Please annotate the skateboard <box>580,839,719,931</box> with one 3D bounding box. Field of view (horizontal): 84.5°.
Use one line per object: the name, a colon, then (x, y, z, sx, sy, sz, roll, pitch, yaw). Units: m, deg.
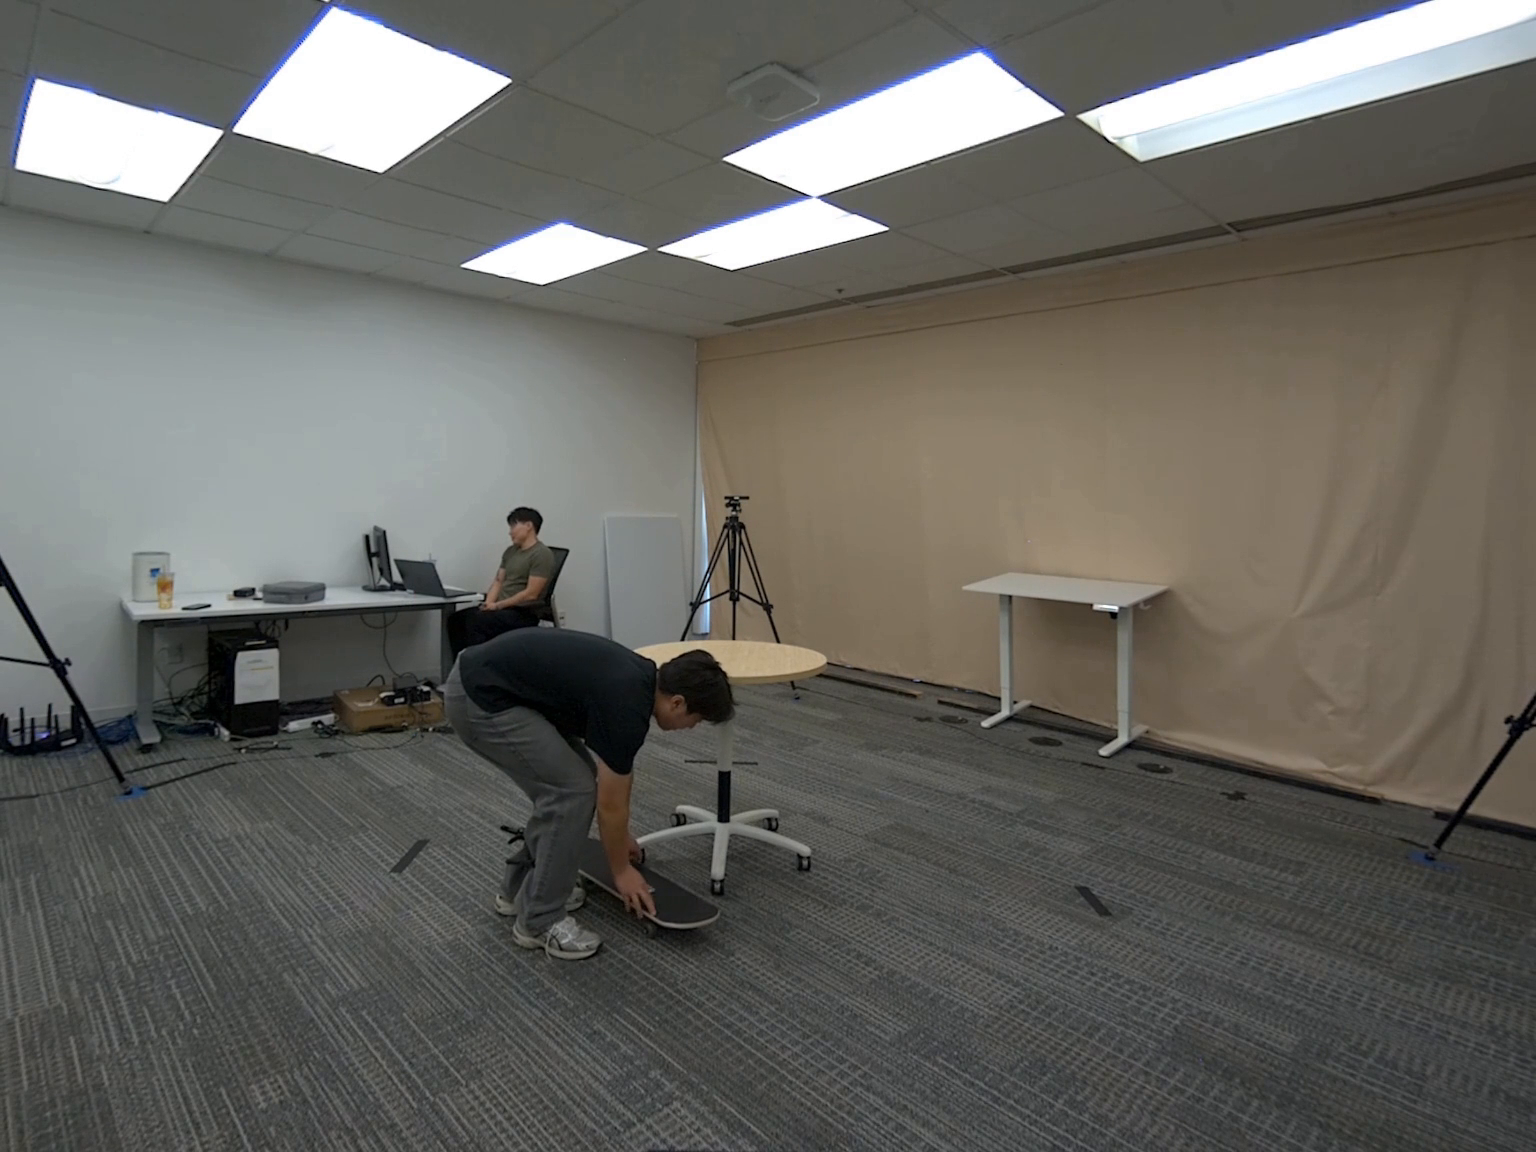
skateboard: (-0.467, 1.064, 2.851, 0.189, 0.110, 0.806, -3, 7, -43)
